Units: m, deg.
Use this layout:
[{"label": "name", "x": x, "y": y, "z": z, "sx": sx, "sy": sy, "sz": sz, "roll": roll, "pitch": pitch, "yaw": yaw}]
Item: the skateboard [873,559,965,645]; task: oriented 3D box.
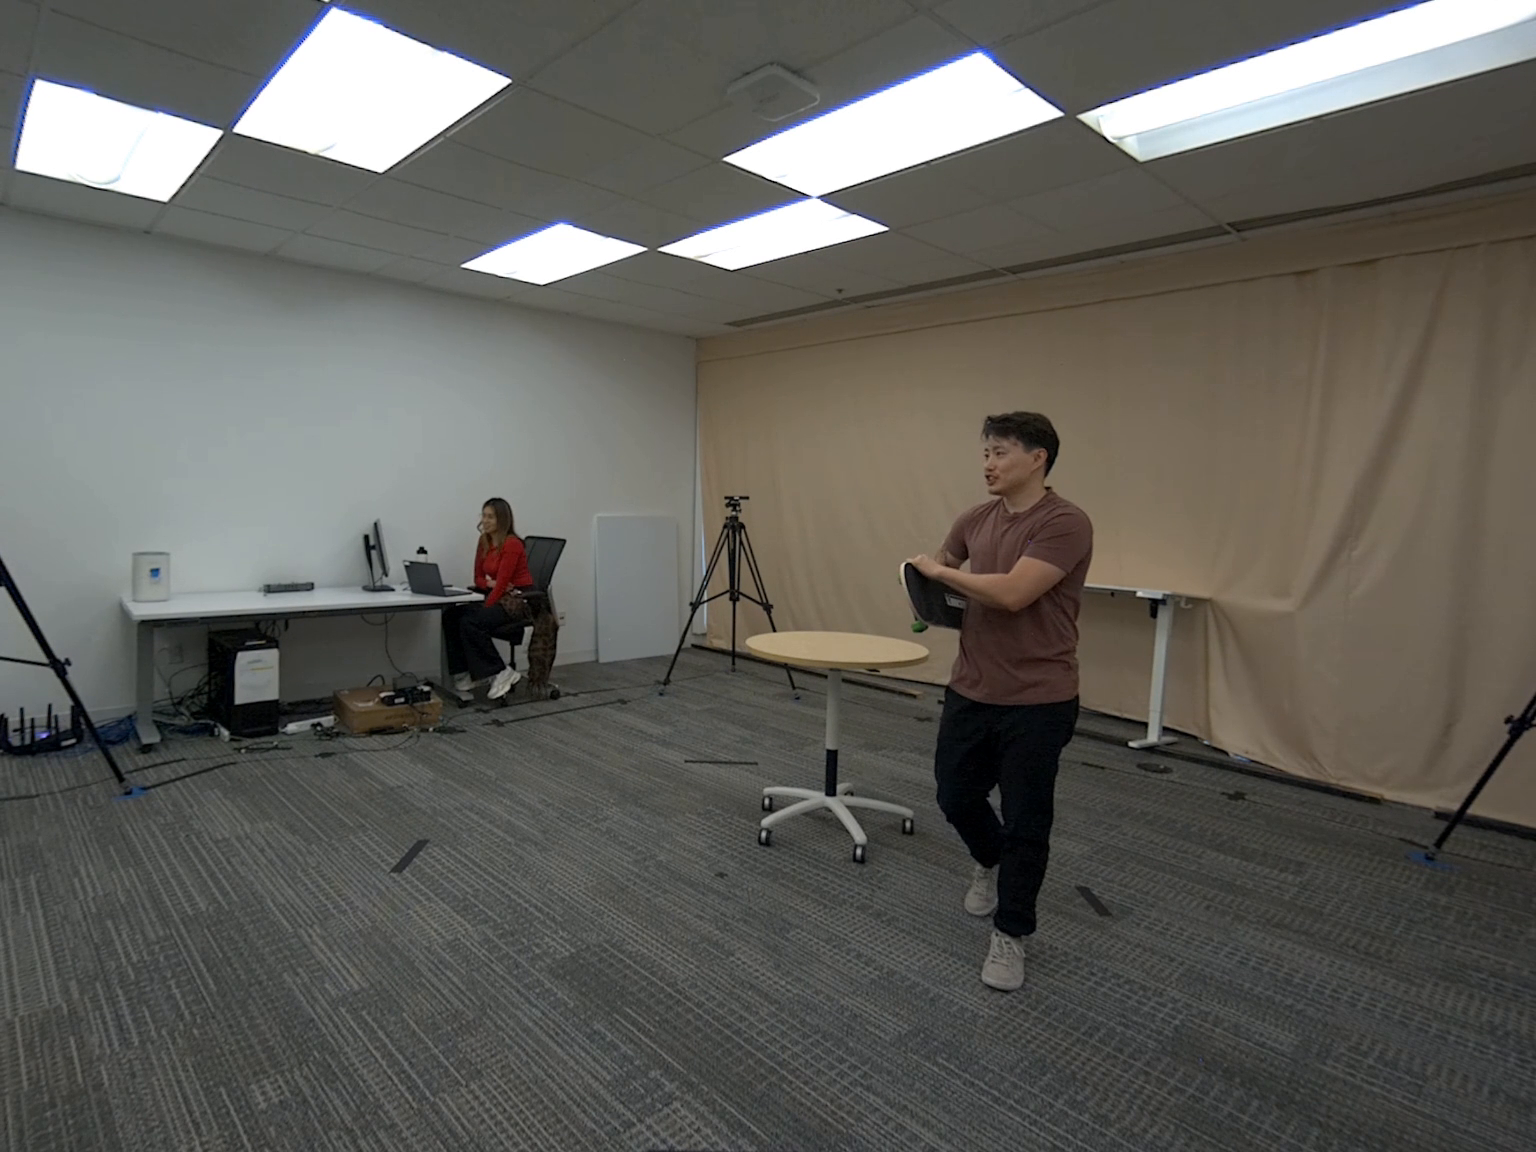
[{"label": "skateboard", "x": 0.606, "y": 0.106, "z": 2.728, "sx": 0.111, "sy": 0.196, "sz": 0.764, "roll": -25, "pitch": -22, "yaw": 33}]
